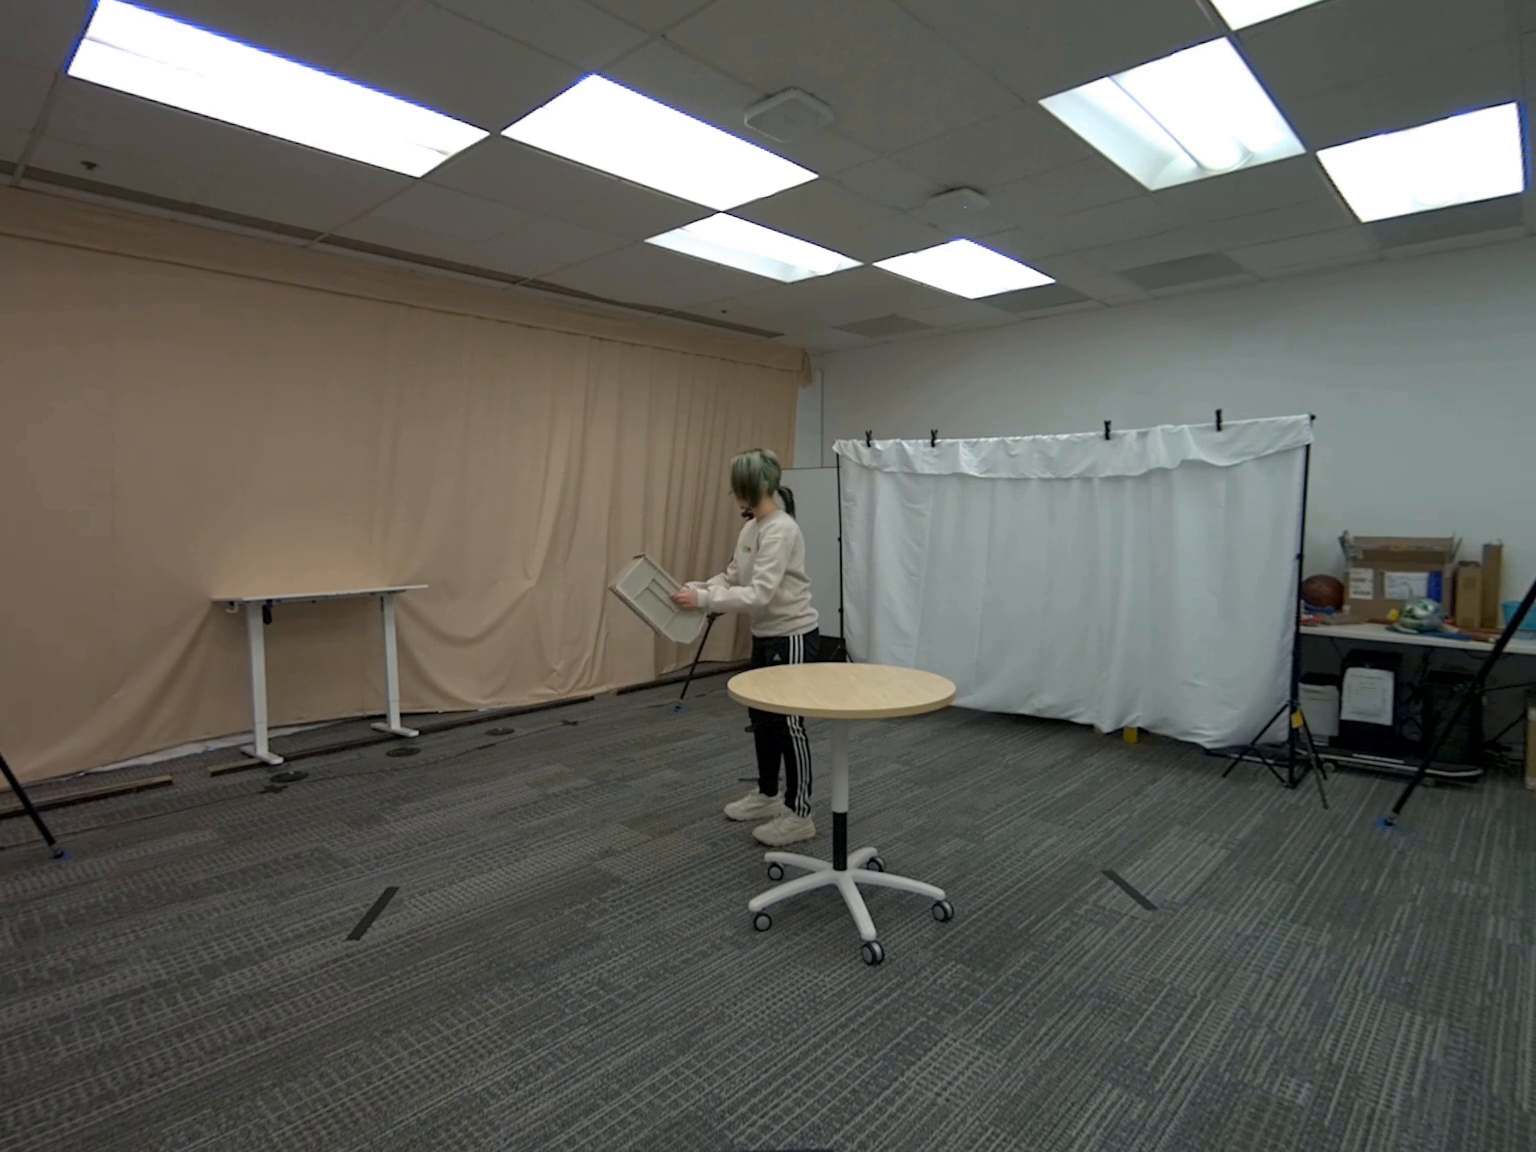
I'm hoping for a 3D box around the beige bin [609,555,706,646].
[{"bbox_3d":[-0.451,0.103,3.486,0.373,0.188,0.428,43,-10,-10],"label":"beige bin"}]
